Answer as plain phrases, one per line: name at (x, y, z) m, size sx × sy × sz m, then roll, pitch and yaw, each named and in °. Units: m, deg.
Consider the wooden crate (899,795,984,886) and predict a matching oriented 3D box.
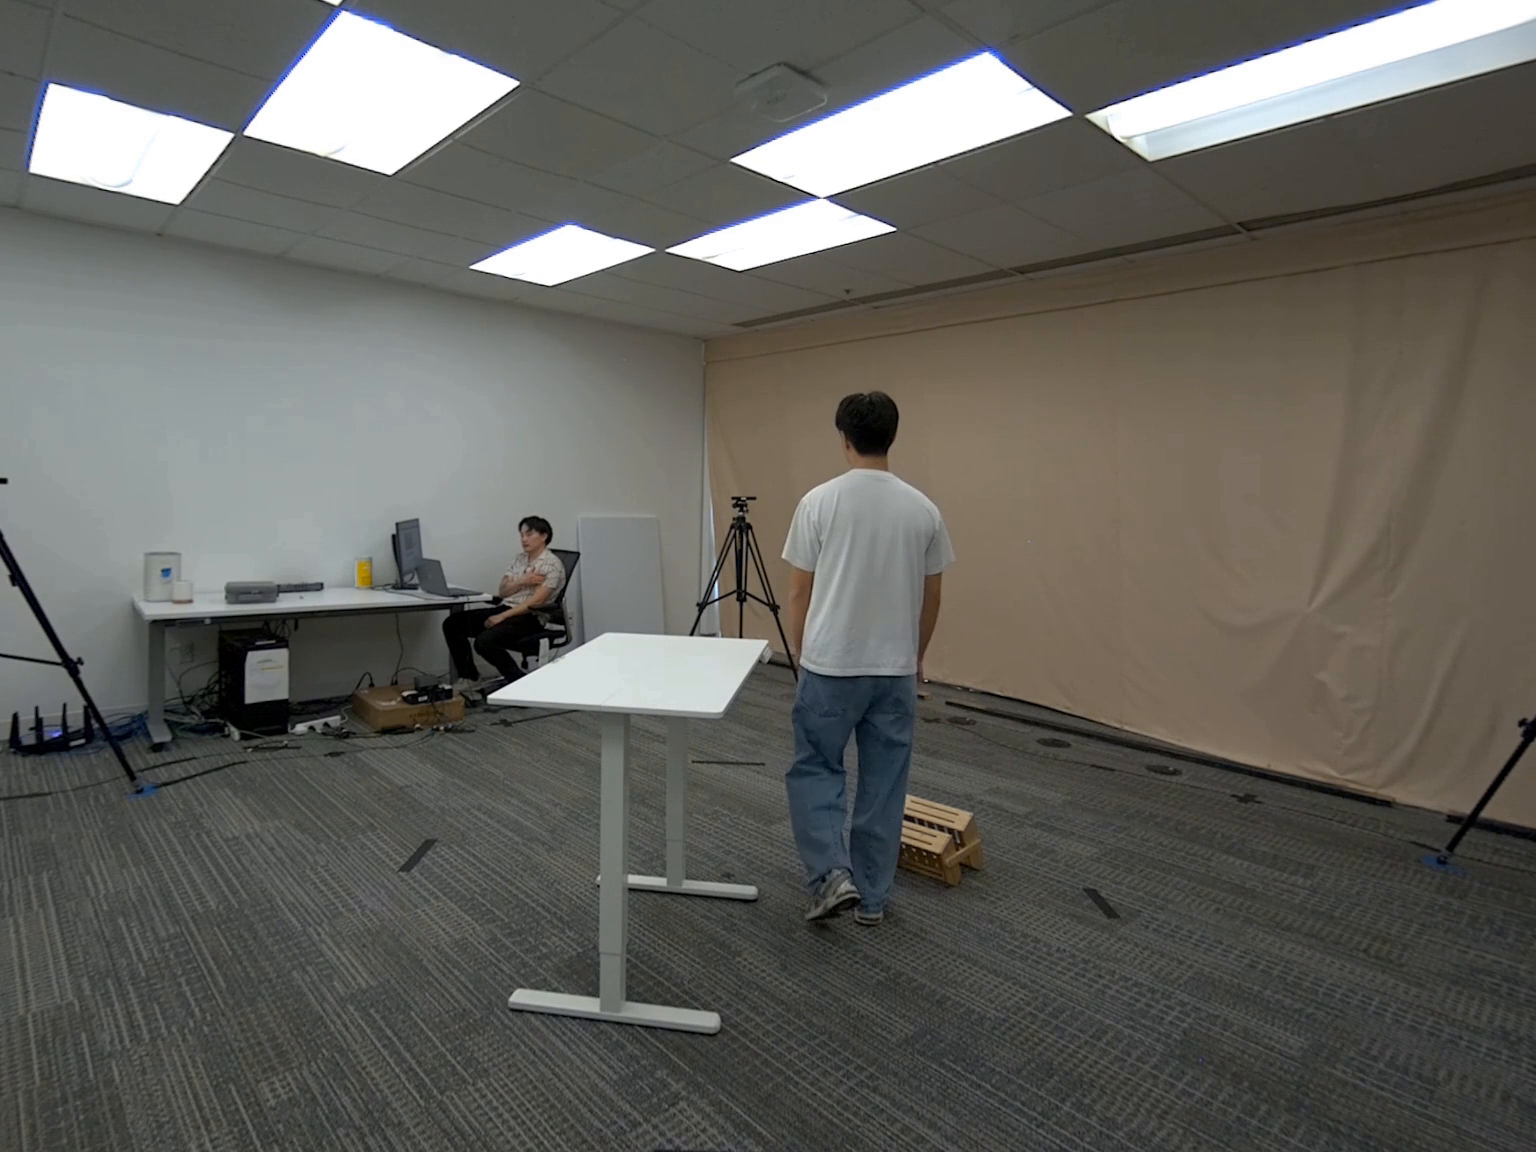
wooden crate at (0.594, 1.028, 3.193) m, size 0.332 × 0.296 × 0.272 m, roll 5°, pitch 33°, yaw 40°
